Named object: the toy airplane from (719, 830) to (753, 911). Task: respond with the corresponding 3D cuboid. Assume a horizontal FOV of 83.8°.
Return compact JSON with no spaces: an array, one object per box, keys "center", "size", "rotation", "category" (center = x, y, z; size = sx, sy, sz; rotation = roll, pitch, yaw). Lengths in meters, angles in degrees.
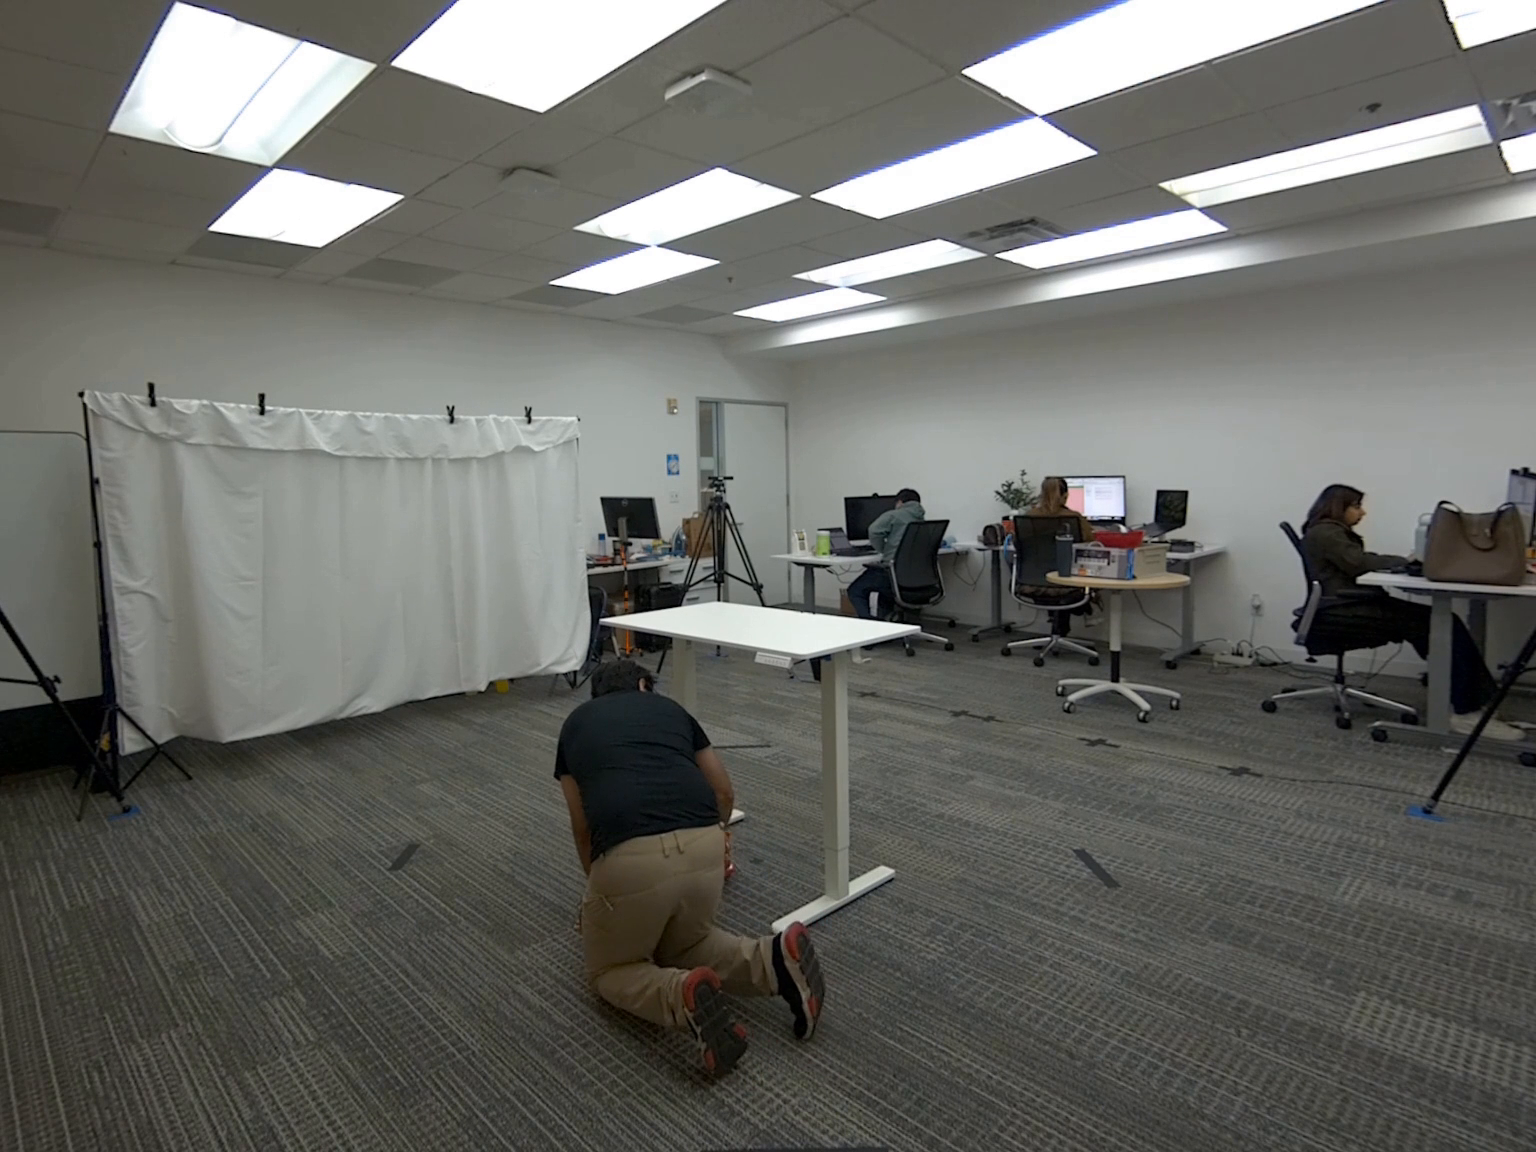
[{"center":[-0.223,0.990,2.948],"size":[0.257,0.156,0.254],"rotation":[2,6,24],"category":"toy airplane"}]
